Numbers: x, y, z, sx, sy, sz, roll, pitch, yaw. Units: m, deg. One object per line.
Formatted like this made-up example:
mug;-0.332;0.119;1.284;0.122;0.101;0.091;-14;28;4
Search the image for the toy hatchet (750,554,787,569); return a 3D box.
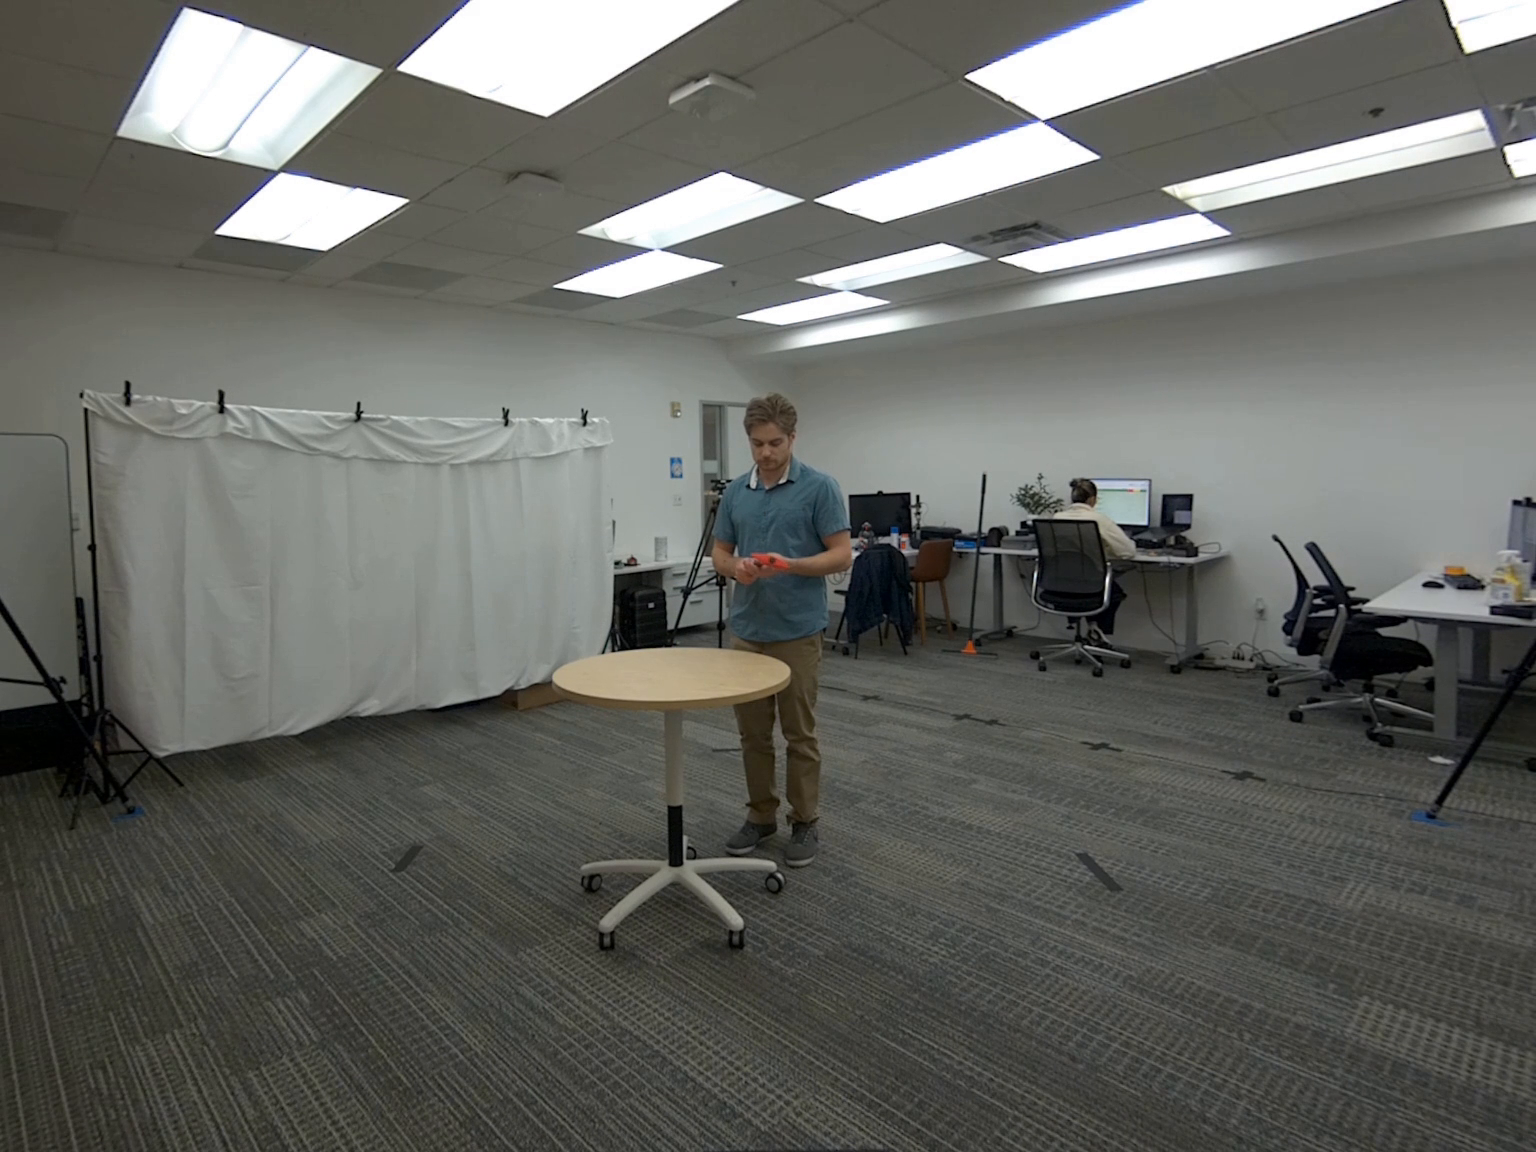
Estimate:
toy hatchet;0.016;-0.029;2.902;0.131;0.030;0.267;11;-10;2
